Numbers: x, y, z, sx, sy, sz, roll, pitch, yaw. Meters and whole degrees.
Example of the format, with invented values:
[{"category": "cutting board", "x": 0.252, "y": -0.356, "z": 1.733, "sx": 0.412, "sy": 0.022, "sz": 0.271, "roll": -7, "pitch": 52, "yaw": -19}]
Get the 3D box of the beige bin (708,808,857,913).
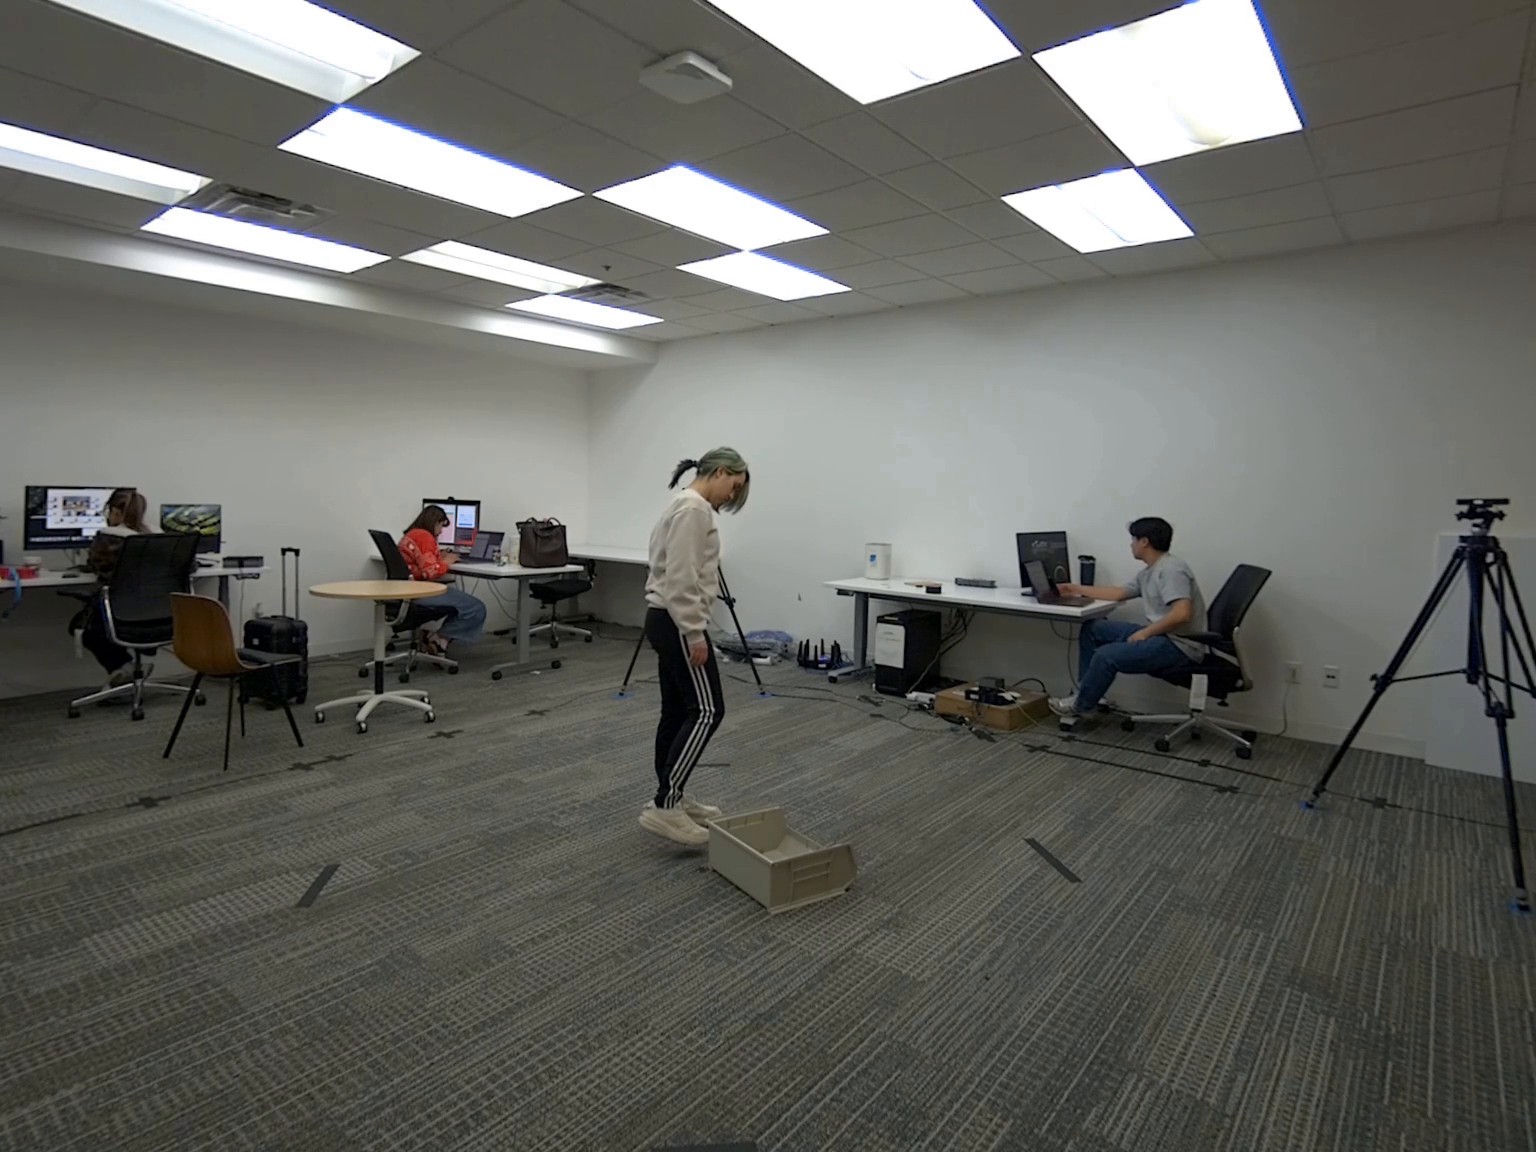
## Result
[{"category": "beige bin", "x": 0.033, "y": 0.991, "z": 3.040, "sx": 0.367, "sy": 0.188, "sz": 0.436, "roll": -4, "pitch": 7, "yaw": -35}]
